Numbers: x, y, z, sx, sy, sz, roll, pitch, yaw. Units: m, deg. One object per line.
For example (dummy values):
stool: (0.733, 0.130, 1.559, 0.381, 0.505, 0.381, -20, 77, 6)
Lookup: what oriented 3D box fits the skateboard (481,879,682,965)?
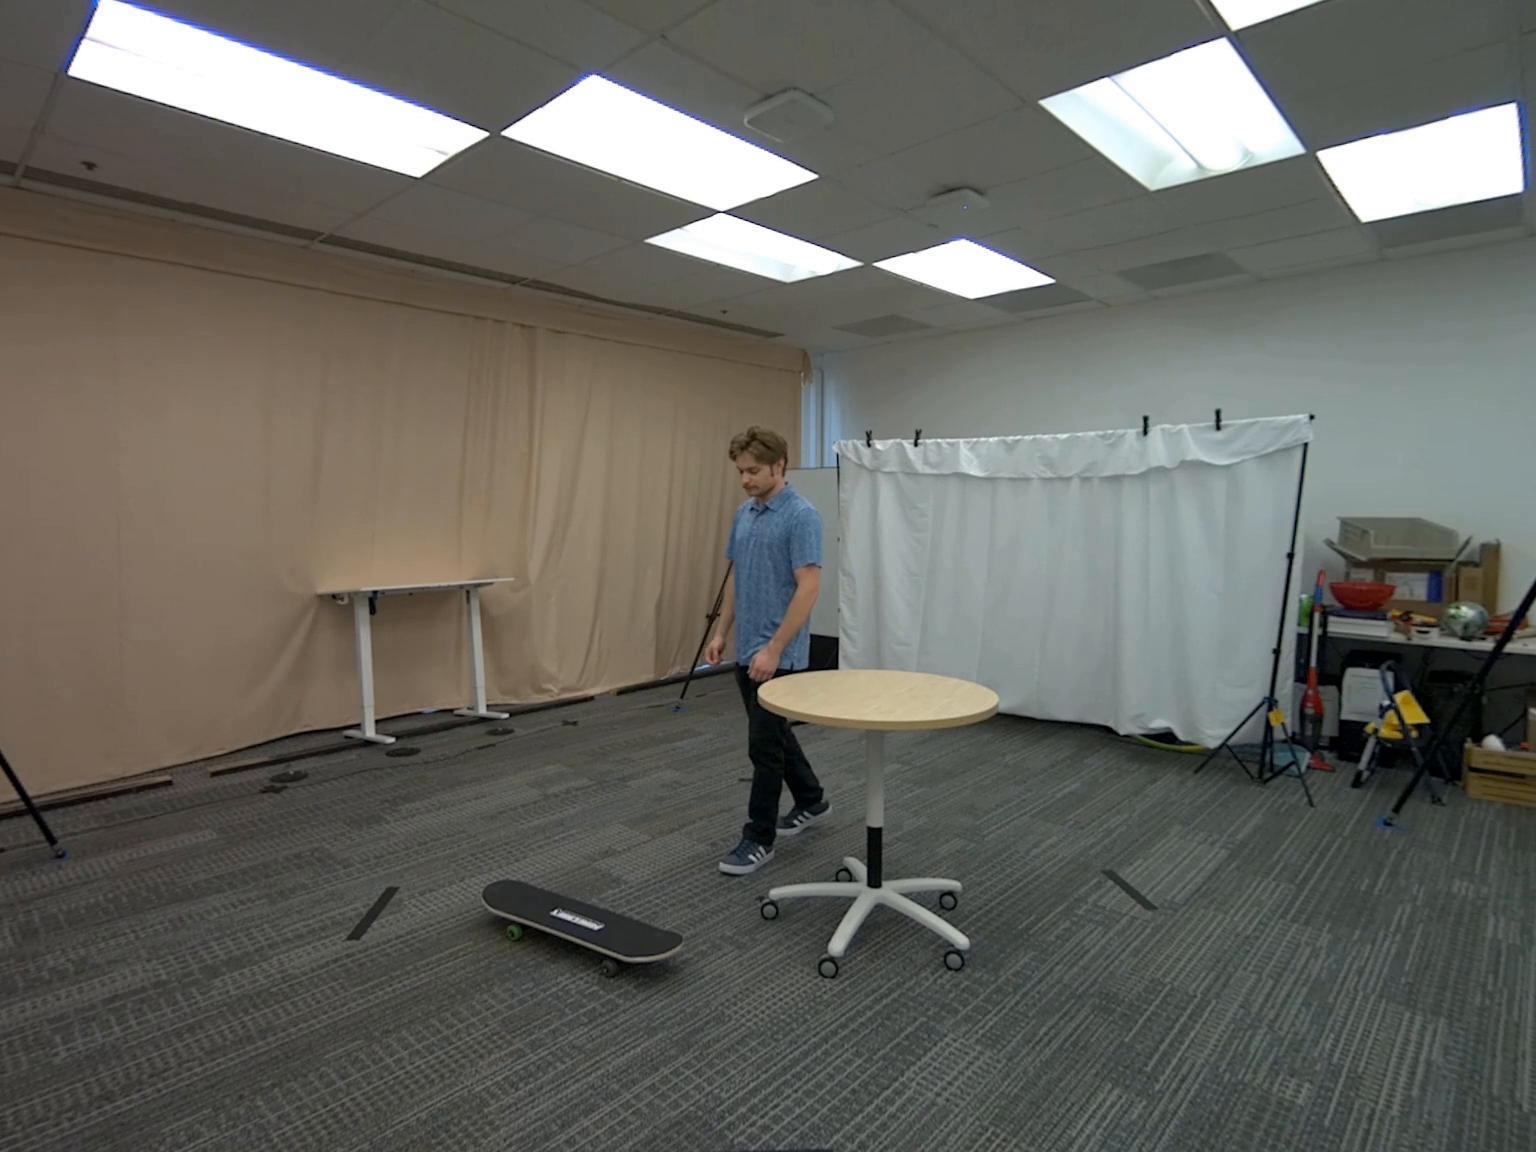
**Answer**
skateboard: (-0.598, 1.112, 2.664, 0.808, 0.110, 0.188, 2, 5, 31)
